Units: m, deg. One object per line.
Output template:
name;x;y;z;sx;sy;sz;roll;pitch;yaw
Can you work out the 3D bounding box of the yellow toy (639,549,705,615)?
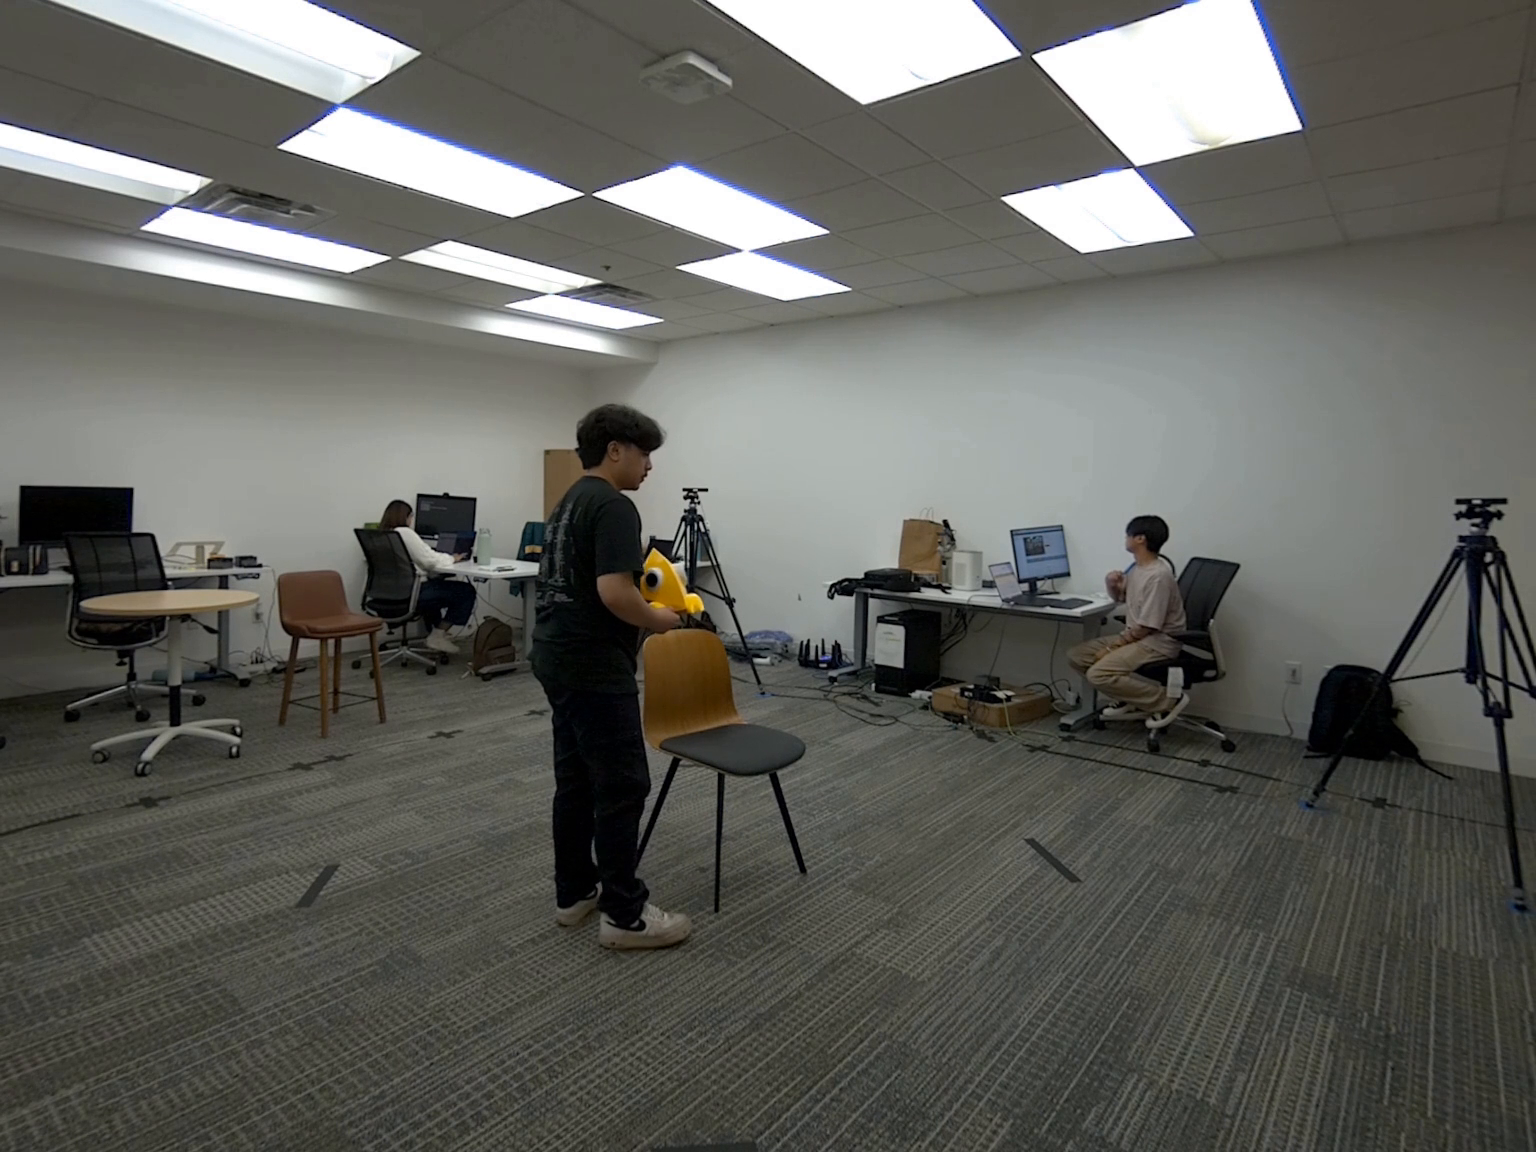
yellow toy;-0.347;0.015;2.854;0.200;0.230;0.198;-11;4;-35
